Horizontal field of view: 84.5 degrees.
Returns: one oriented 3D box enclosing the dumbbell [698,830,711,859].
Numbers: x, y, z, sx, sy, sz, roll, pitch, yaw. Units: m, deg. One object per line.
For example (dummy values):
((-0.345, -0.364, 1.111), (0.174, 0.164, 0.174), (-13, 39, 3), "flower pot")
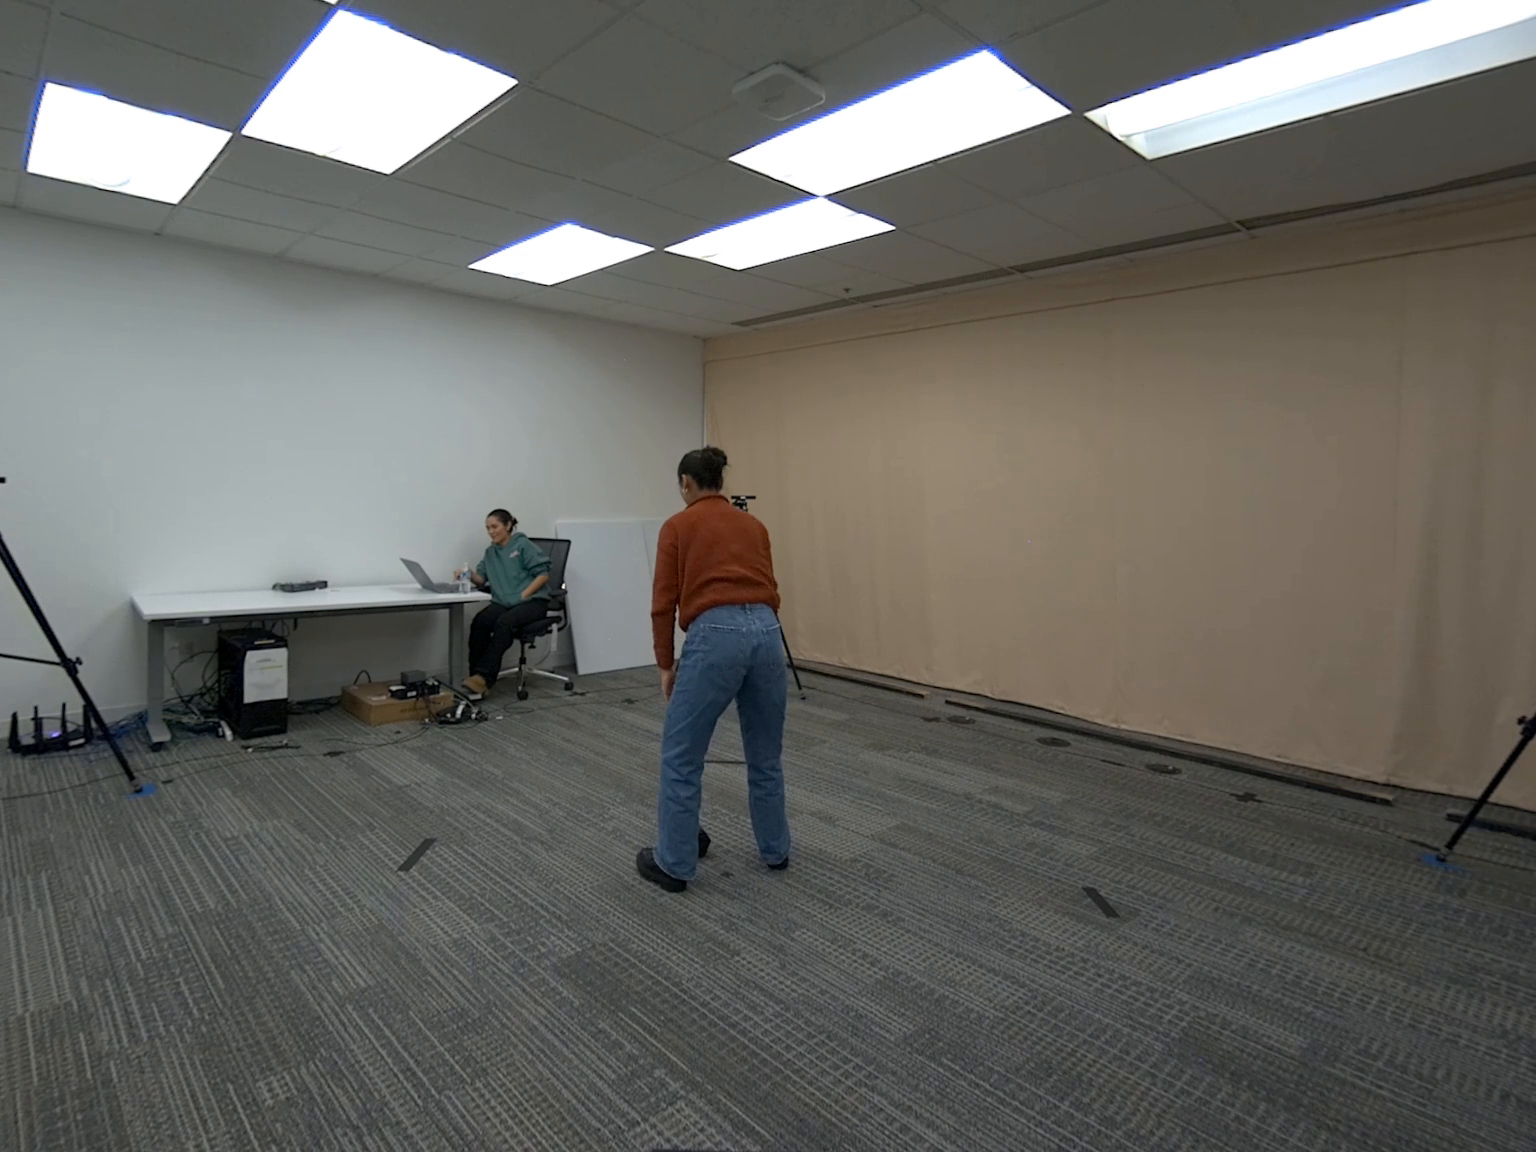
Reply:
((-0.326, 1.028, 3.363), (0.107, 0.123, 0.299), (28, -3, -19), "dumbbell")
